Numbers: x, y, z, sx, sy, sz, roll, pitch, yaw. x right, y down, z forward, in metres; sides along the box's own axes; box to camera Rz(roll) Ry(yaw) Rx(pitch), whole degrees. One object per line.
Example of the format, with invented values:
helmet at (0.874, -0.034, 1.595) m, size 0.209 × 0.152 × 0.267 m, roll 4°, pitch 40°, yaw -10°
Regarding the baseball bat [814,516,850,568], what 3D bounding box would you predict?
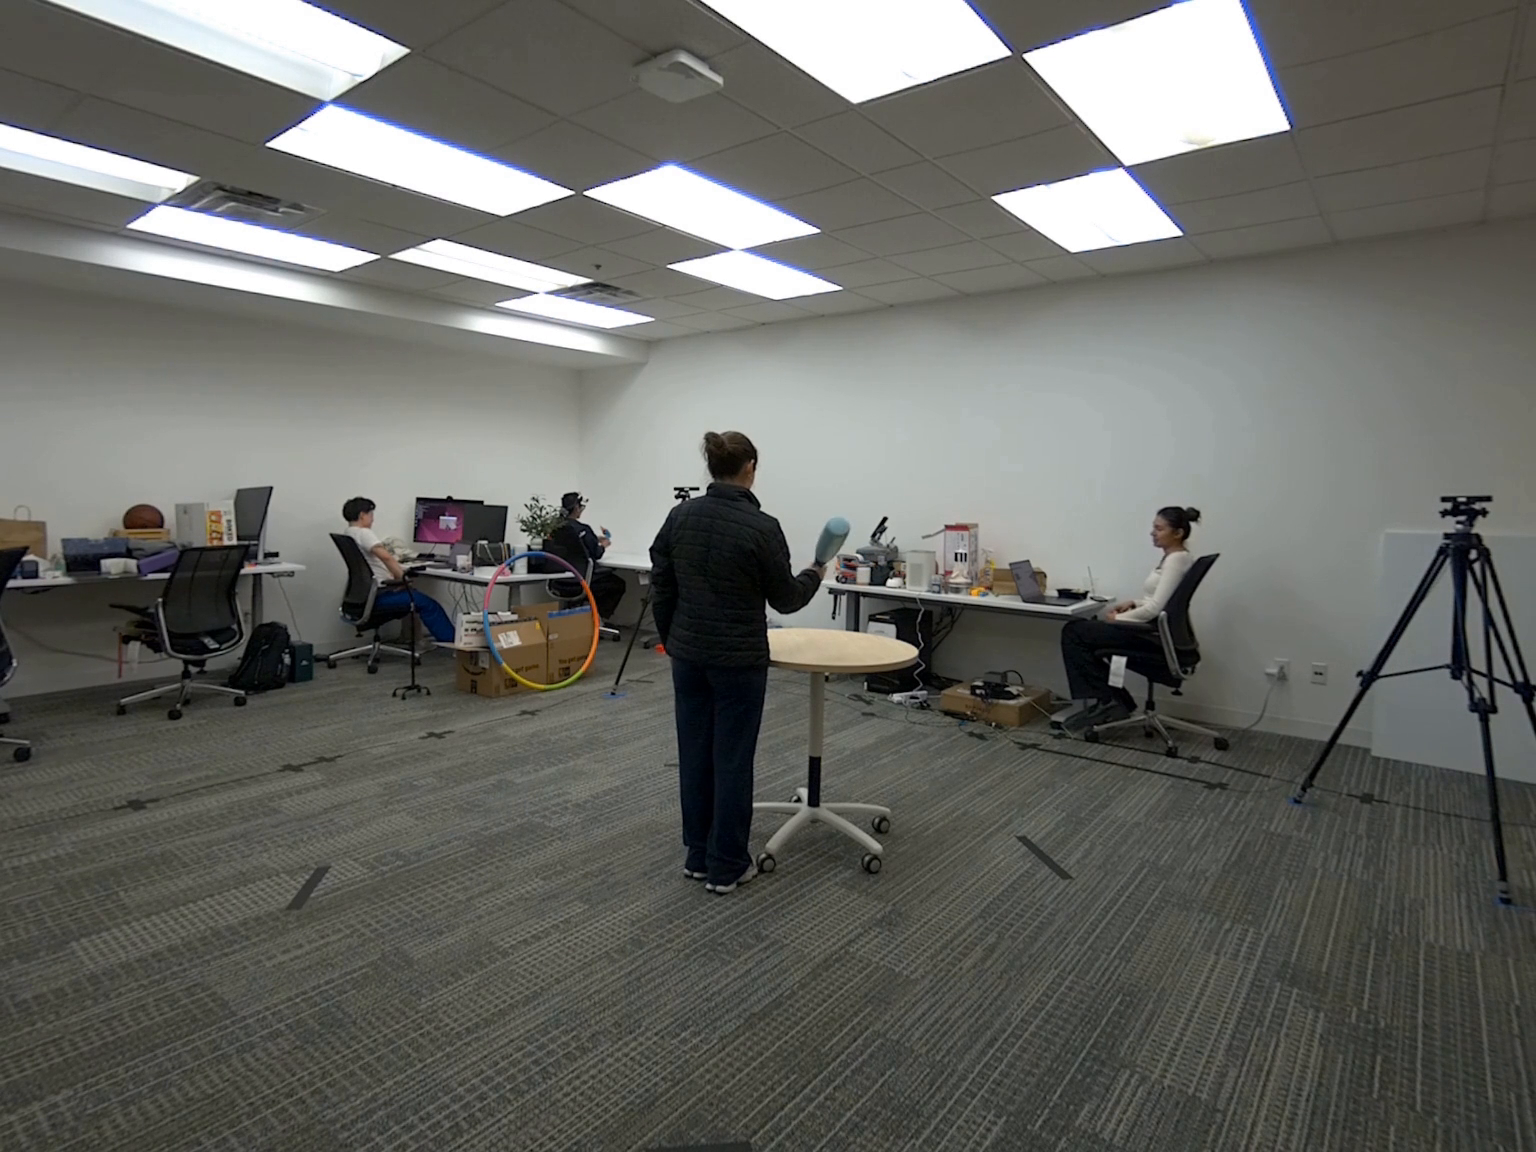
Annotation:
baseball bat at (0.229, -0.068, 3.224) m, size 0.088 × 0.091 × 0.535 m, roll 1°, pitch -23°, yaw -9°
